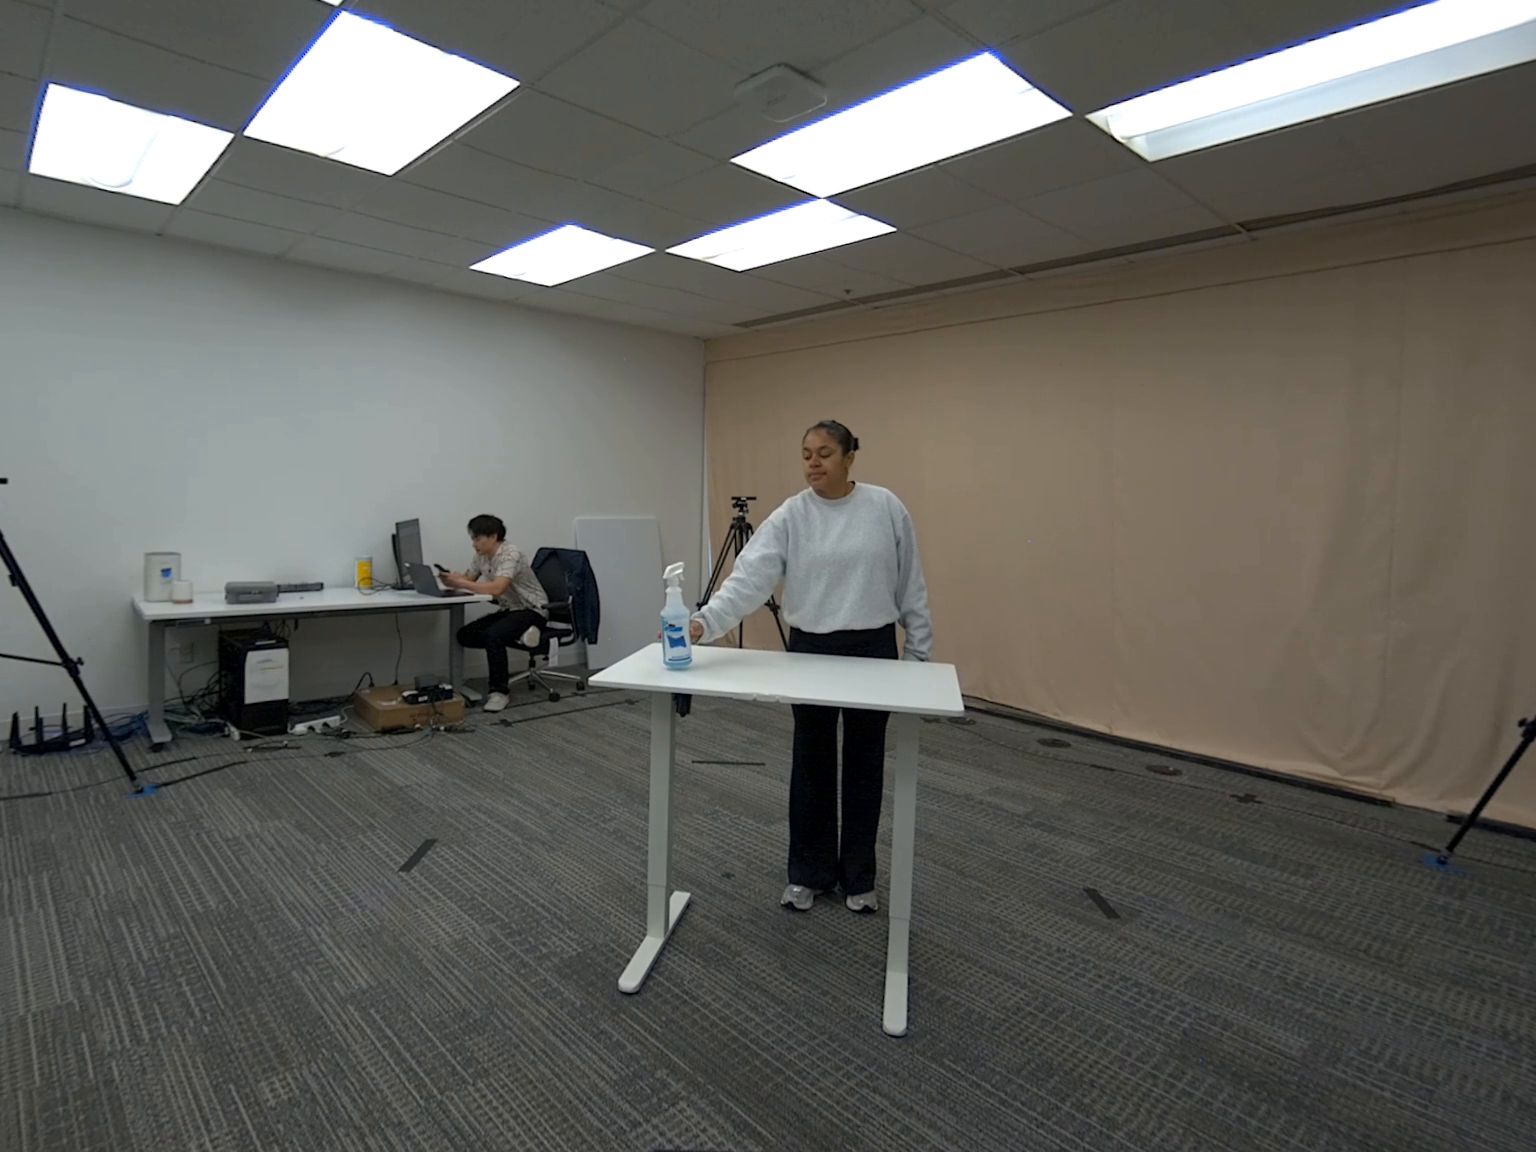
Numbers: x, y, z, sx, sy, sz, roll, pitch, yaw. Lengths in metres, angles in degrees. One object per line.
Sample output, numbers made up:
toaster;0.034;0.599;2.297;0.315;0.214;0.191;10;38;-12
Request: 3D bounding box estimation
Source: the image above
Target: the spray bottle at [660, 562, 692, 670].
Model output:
spray bottle;-0.272;0.118;2.459;0.088;0.295;0.089;-7;10;-34
